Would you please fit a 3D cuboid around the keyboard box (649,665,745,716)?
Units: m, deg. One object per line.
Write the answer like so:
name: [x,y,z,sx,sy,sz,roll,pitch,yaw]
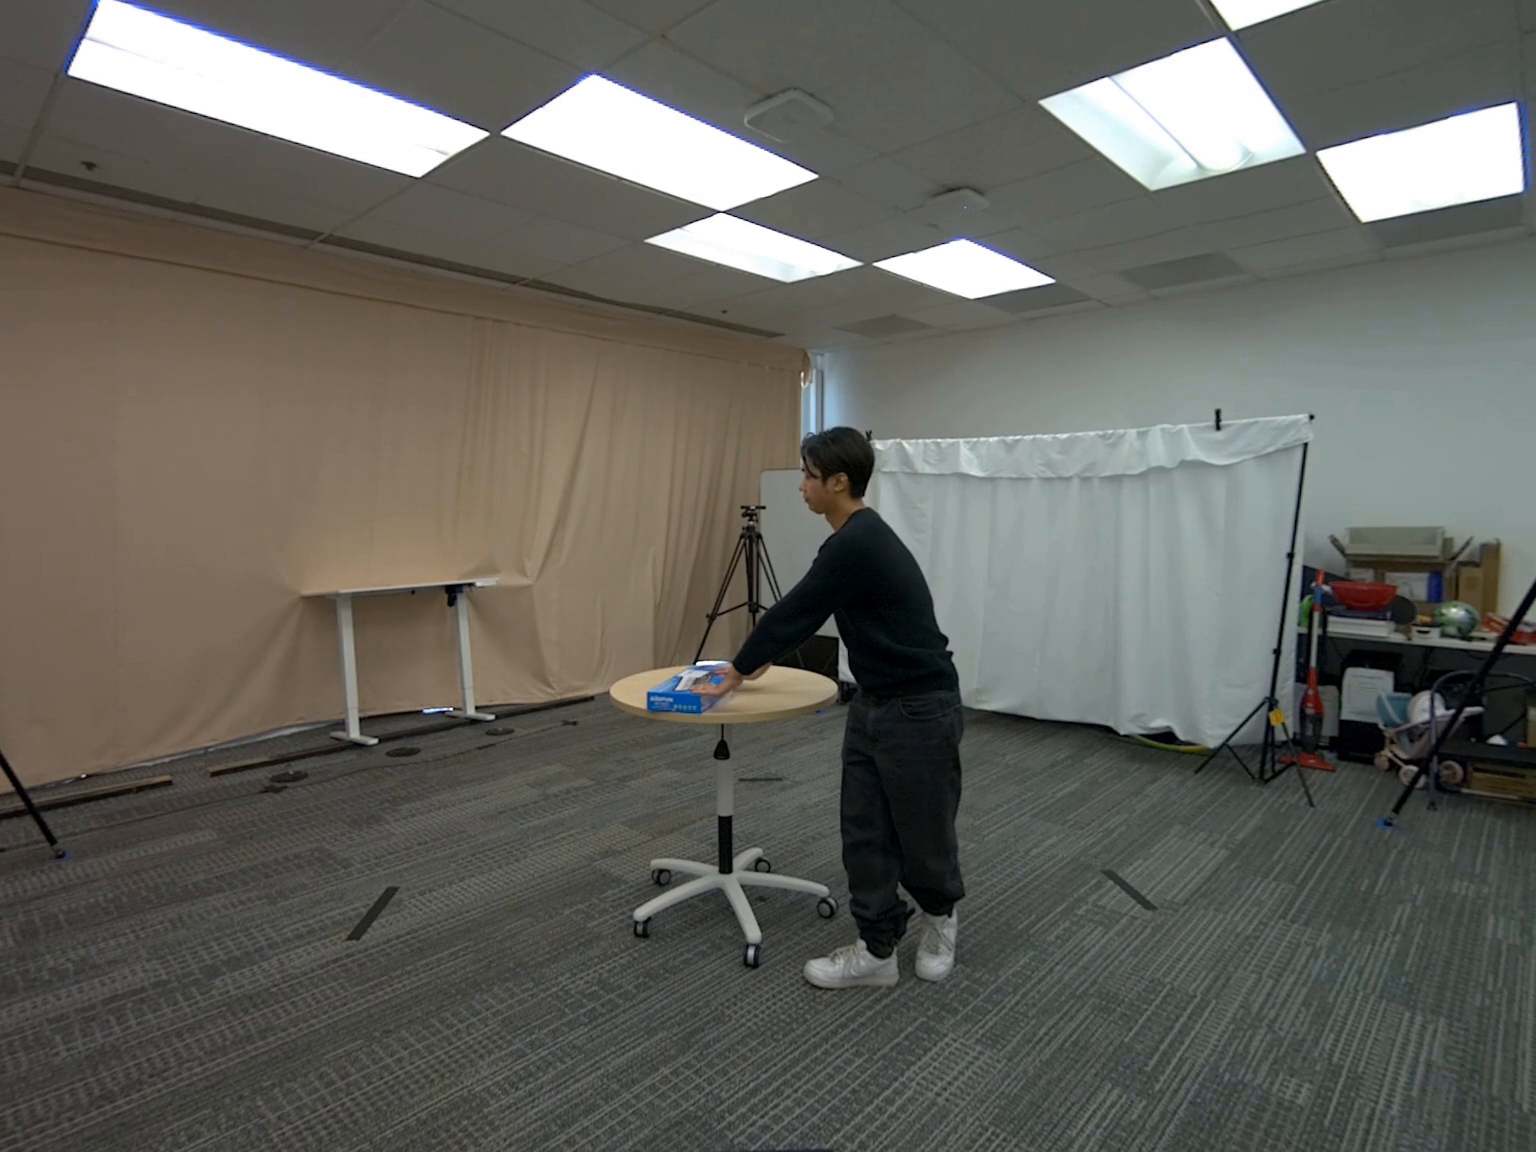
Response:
keyboard box: [-0.219,0.357,2.704,0.179,0.059,0.431,1,5,14]
